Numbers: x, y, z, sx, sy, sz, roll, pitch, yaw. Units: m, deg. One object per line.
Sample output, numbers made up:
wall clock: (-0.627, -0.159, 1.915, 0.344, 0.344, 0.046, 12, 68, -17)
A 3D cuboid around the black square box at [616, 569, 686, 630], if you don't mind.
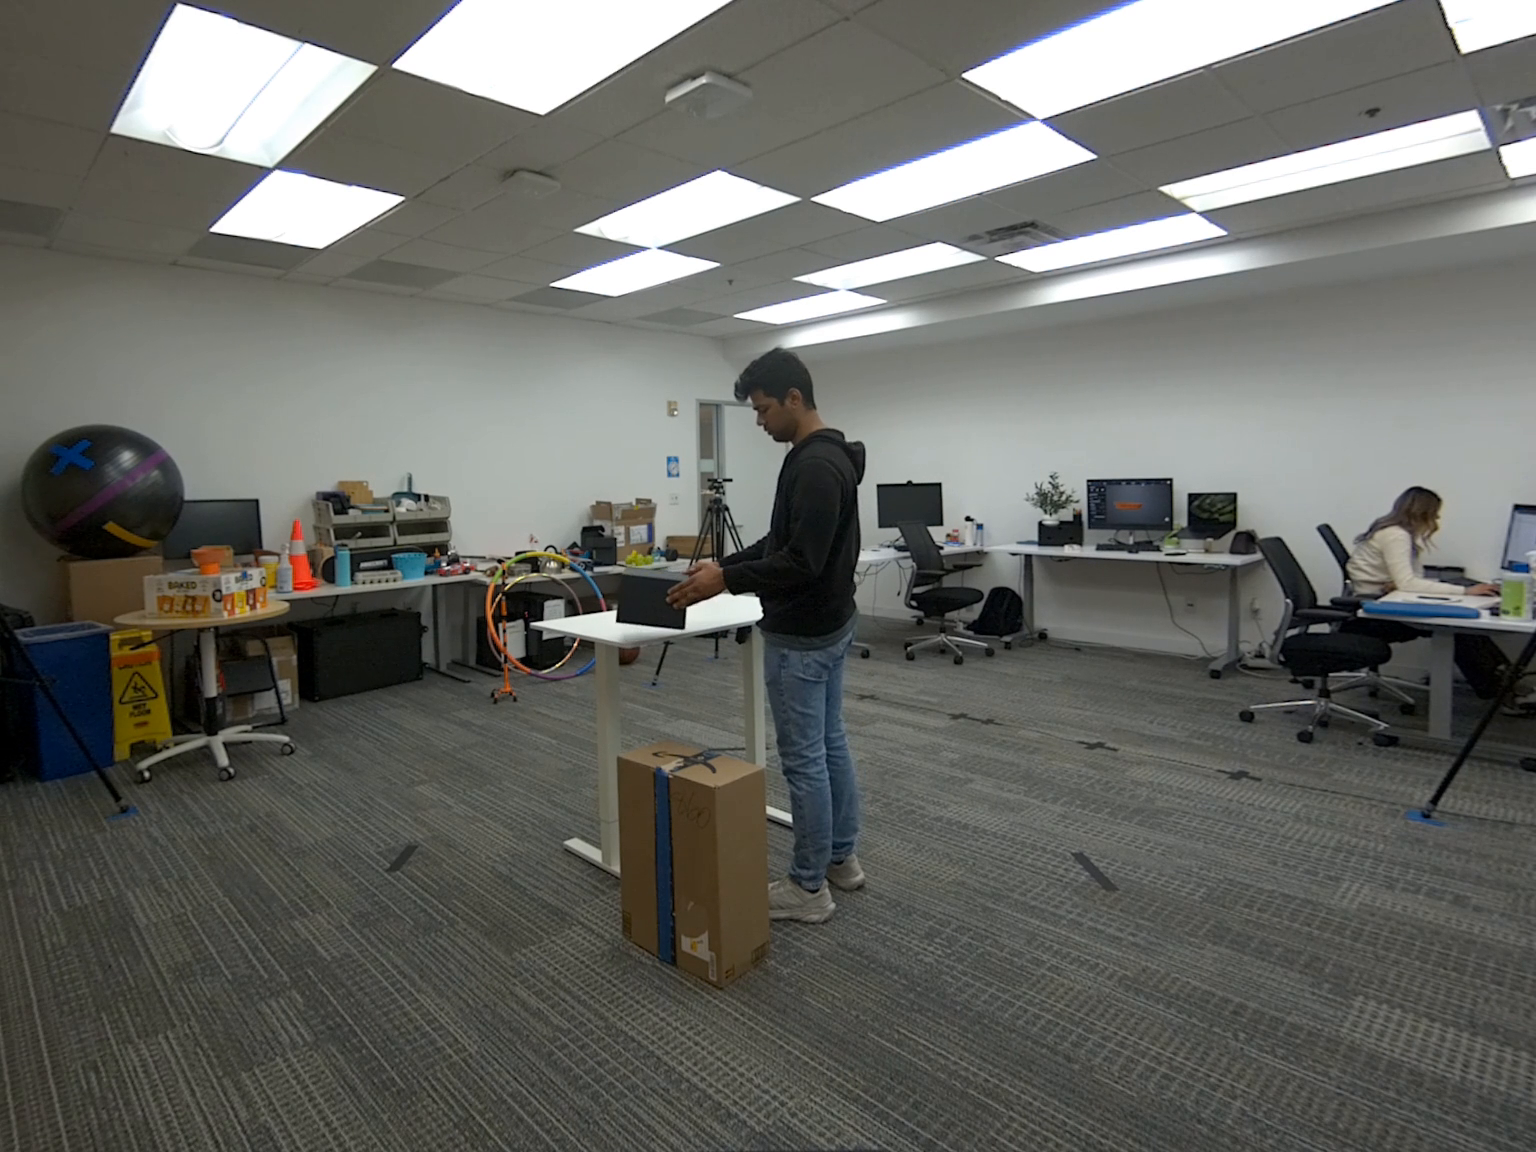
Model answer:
black square box: (-0.364, 0.072, 2.756, 0.217, 0.155, 0.229, 6, 3, -2)
